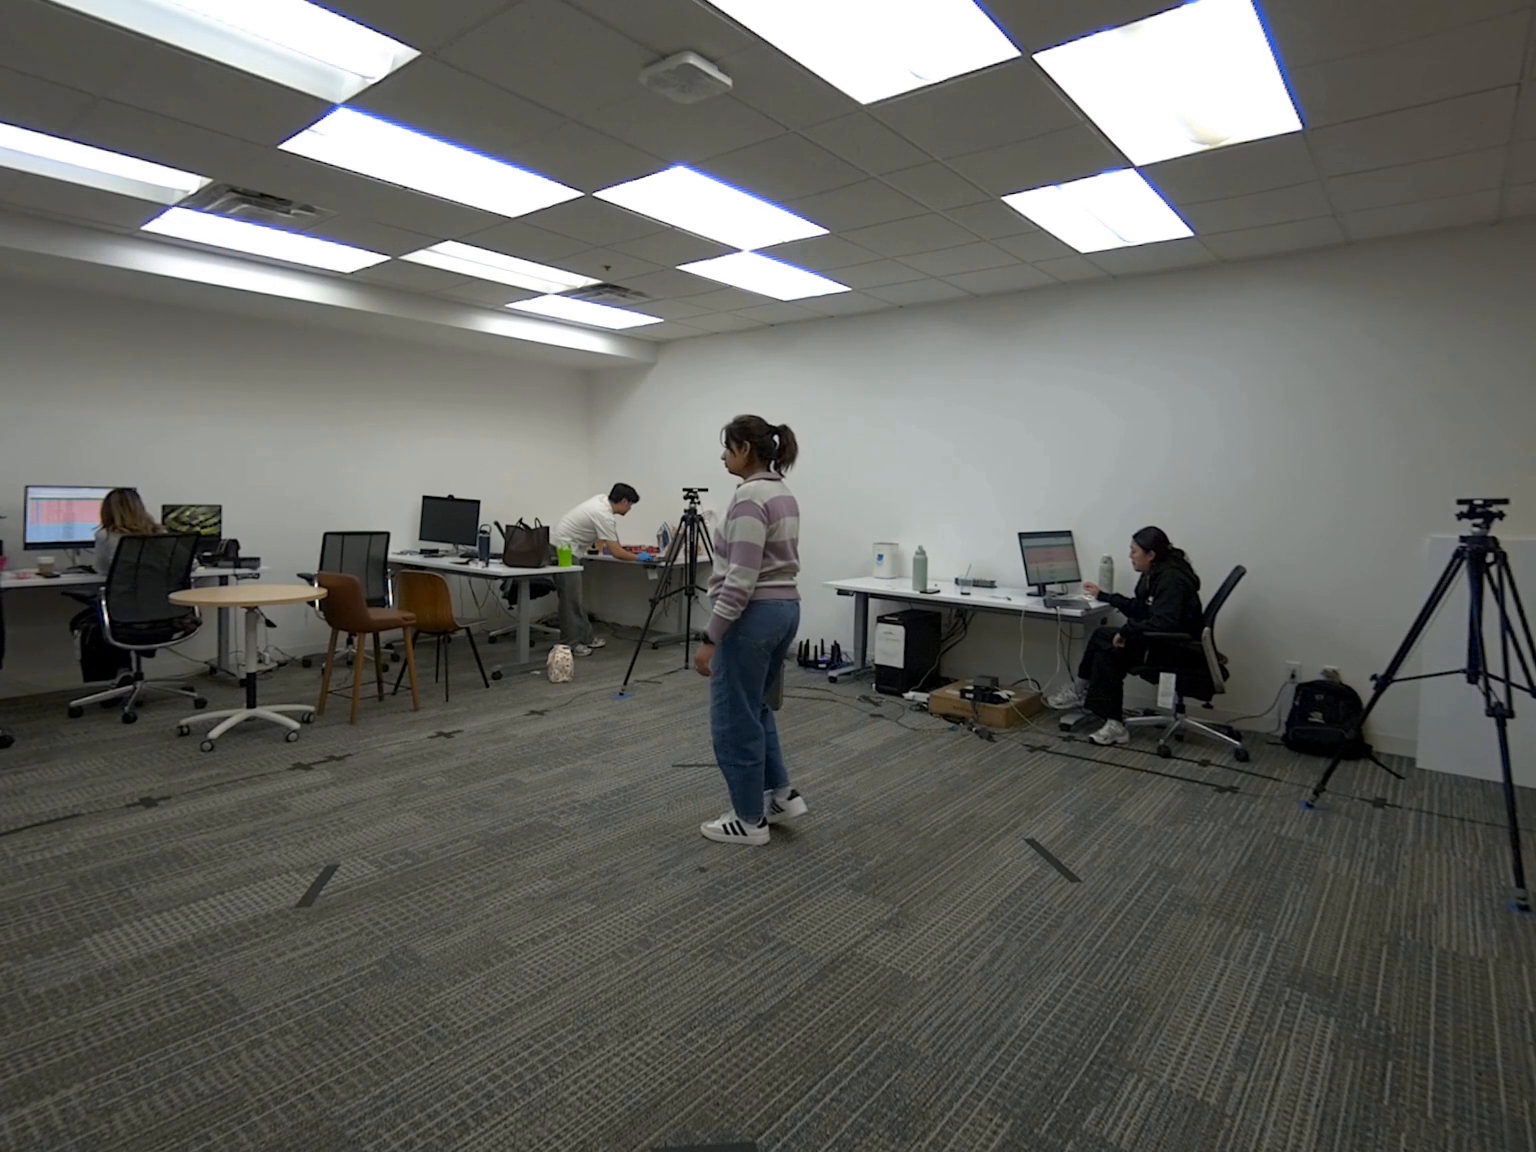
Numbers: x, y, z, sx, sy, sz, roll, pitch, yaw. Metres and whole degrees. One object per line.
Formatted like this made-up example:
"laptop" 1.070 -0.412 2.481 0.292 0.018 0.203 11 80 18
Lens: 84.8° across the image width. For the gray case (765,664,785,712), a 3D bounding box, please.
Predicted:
"gray case" -0.070 0.442 3.722 0.259 0.257 0.104 5 14 8
